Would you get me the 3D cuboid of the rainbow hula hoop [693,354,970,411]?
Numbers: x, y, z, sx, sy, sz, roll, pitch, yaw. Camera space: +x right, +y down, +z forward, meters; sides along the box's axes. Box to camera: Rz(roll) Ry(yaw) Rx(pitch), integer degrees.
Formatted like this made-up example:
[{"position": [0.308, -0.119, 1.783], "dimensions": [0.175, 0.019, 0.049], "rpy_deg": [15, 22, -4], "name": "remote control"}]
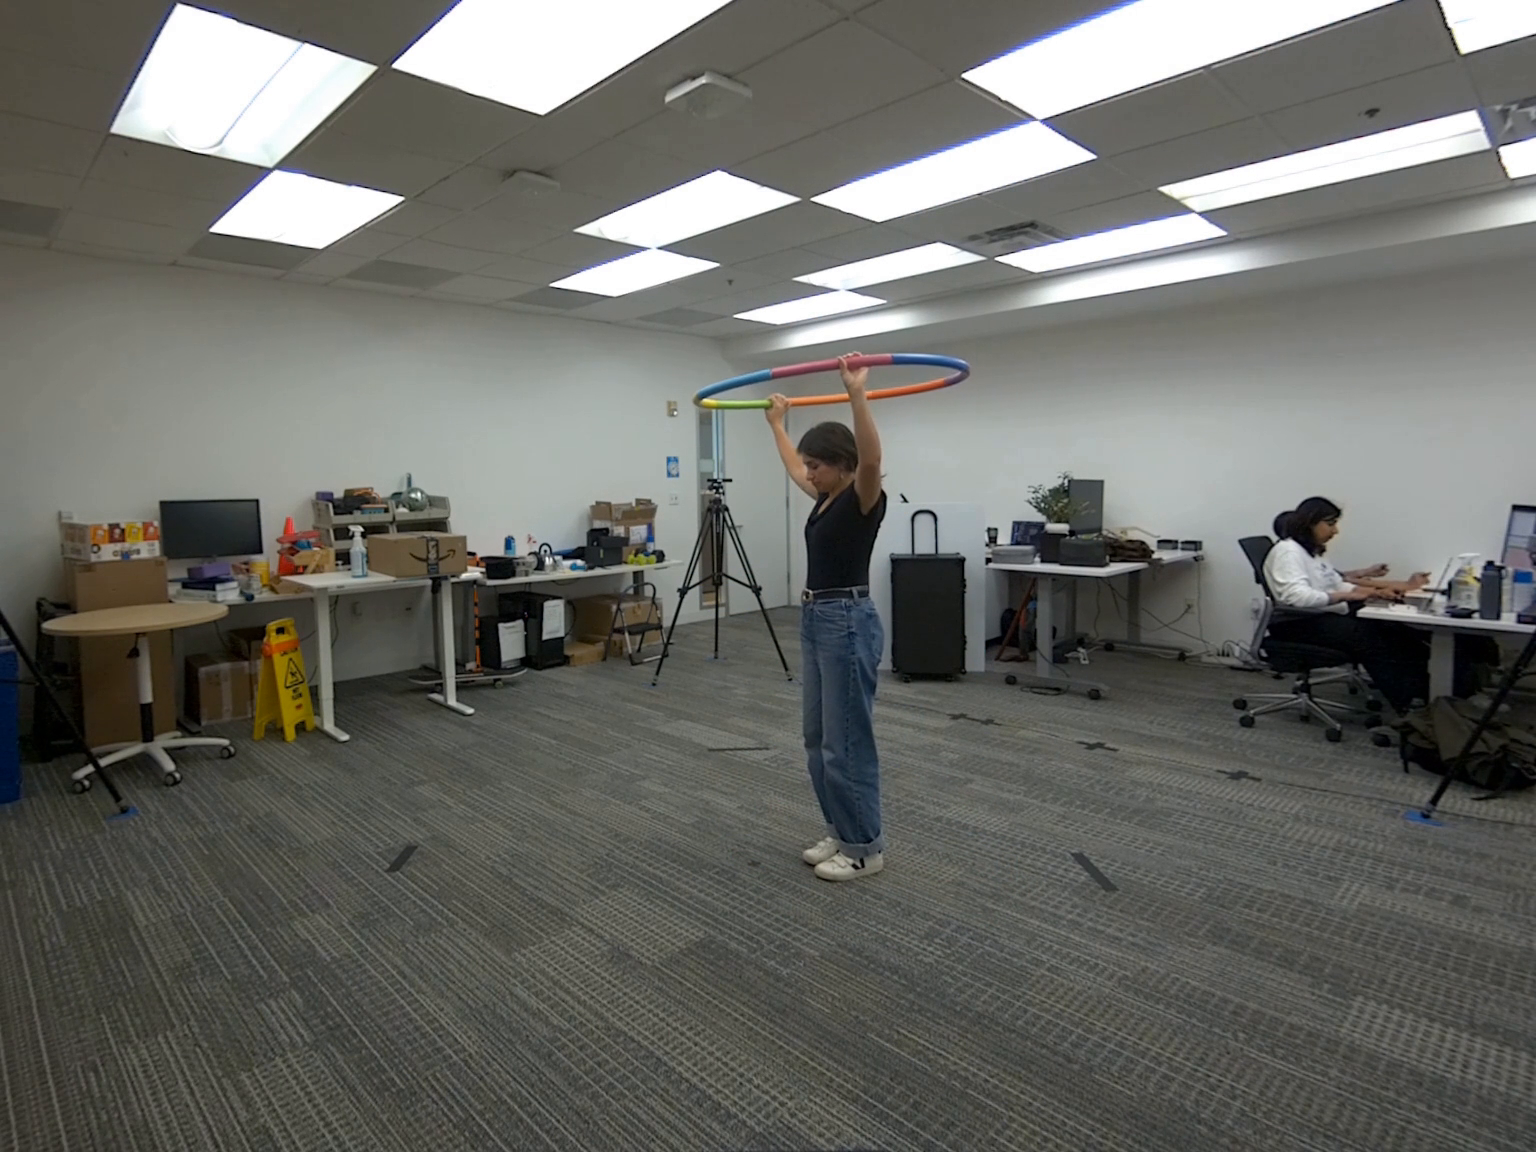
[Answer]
[{"position": [0.224, -0.673, 3.045], "dimensions": [0.978, 0.035, 0.982], "rpy_deg": [-6, 5, -1], "name": "rainbow hula hoop"}]
